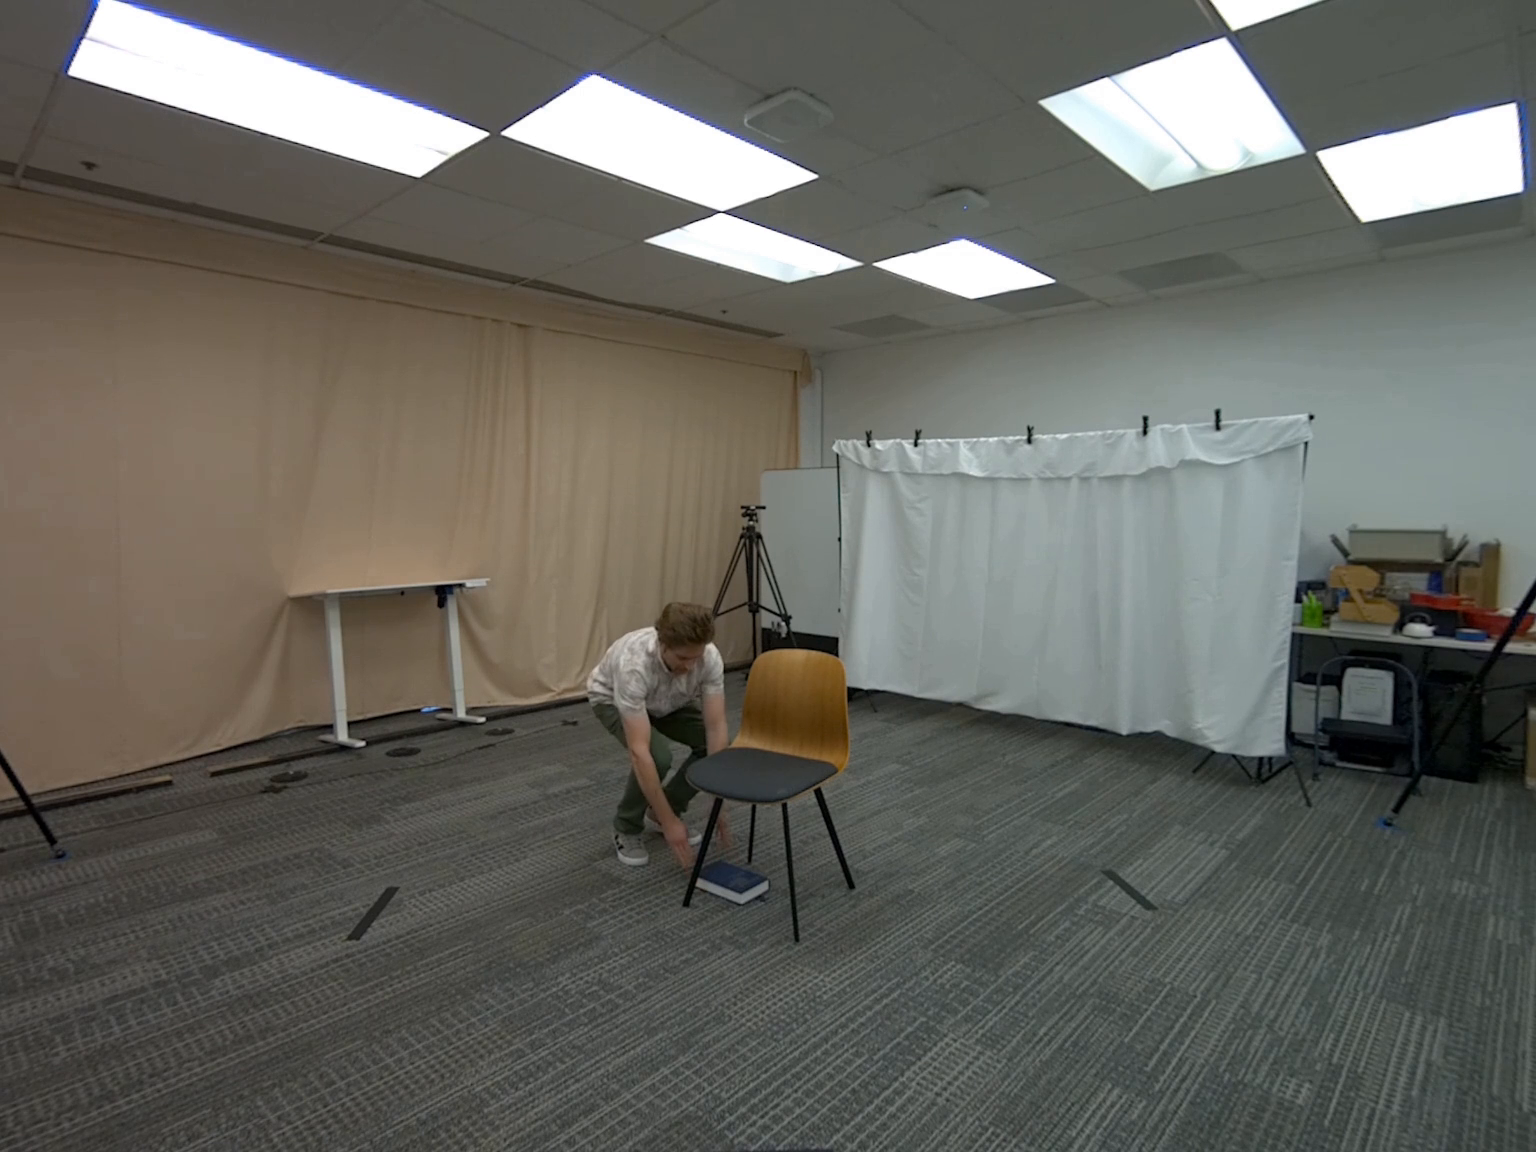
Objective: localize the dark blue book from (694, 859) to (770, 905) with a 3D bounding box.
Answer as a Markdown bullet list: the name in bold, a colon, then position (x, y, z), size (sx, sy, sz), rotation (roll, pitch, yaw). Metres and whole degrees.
- **dark blue book**: position (-0.137, 1.110, 3.066), size (0.253, 0.045, 0.158), rotation (3, 6, 40)
